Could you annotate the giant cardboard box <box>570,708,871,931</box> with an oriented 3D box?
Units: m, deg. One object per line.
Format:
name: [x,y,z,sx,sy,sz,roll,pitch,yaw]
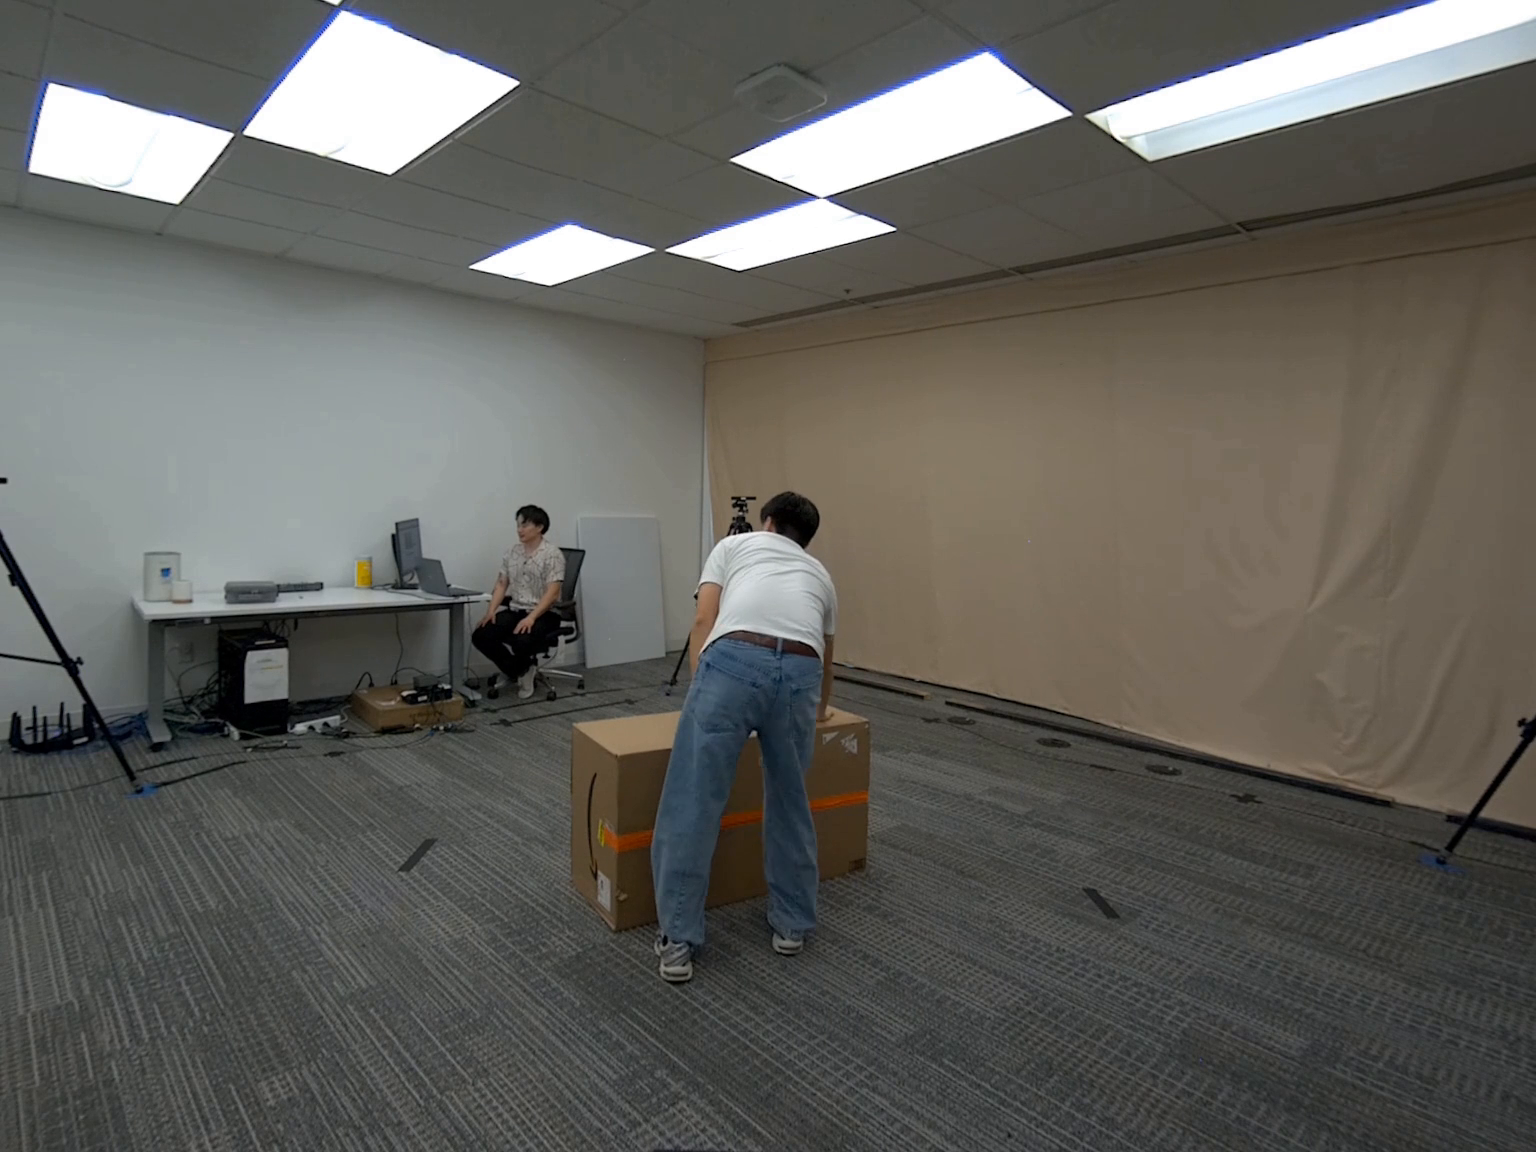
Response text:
giant cardboard box: [-0.167,0.822,3.095,1.005,0.576,0.436,-1,4,-30]
